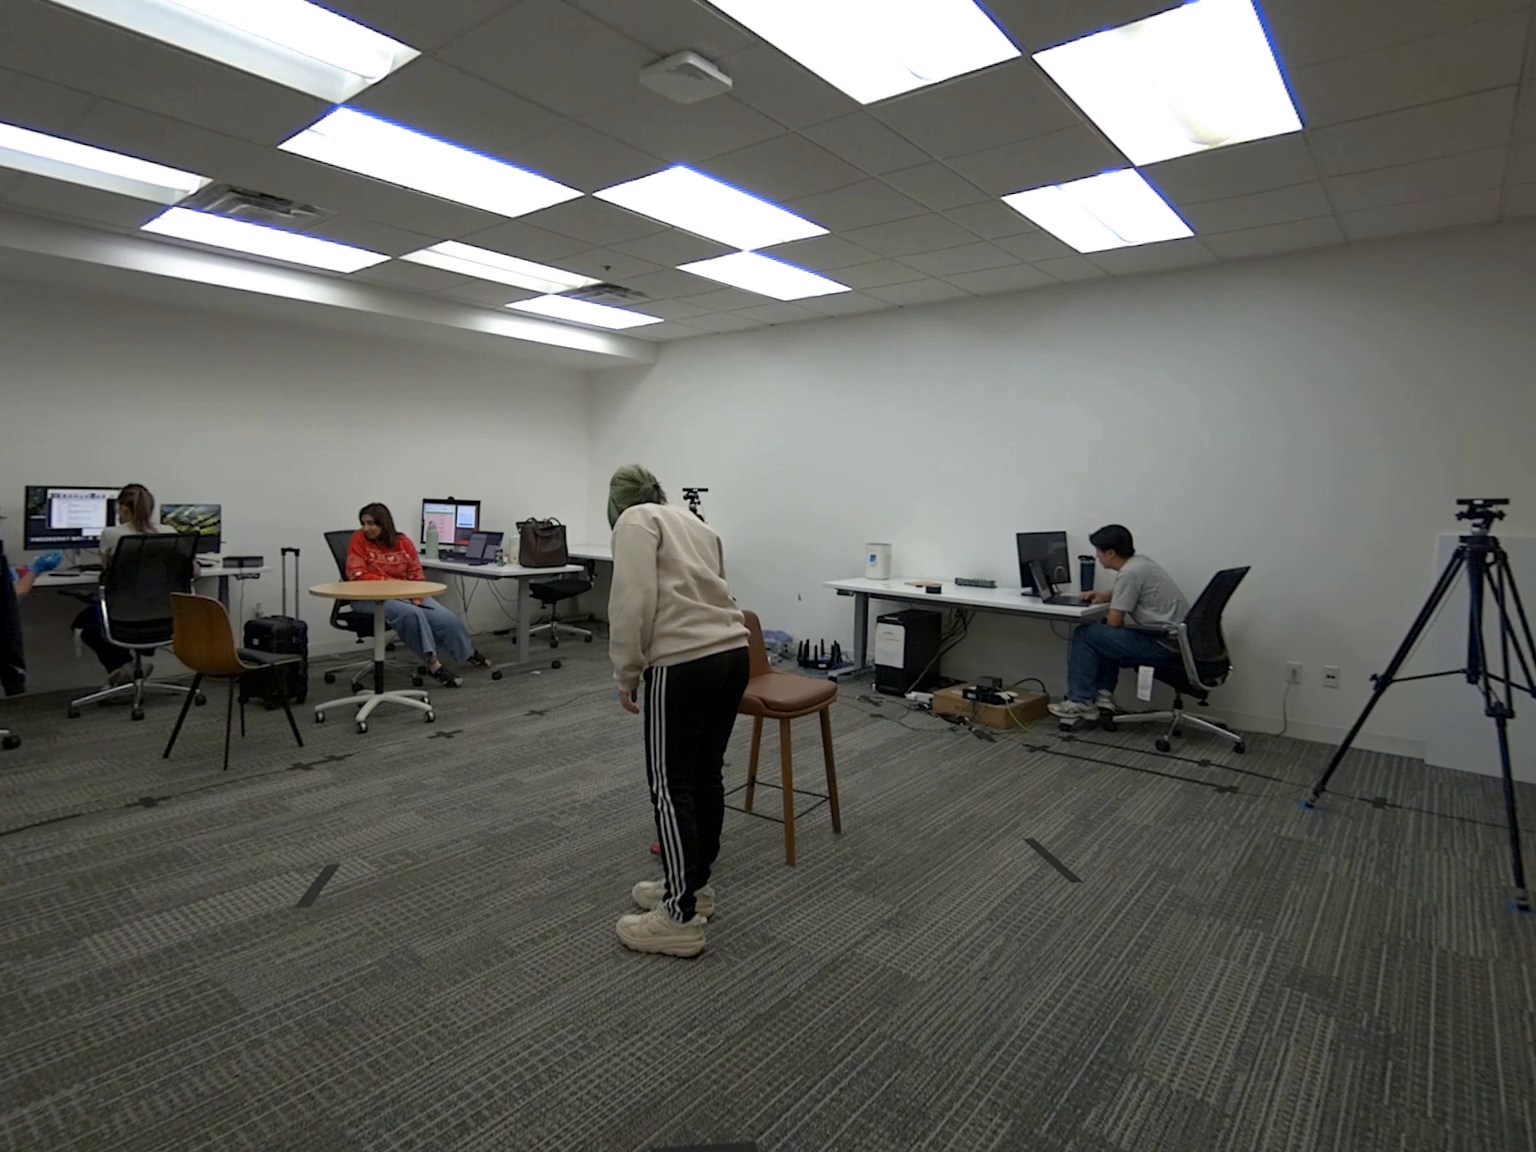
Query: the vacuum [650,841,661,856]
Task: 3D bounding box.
[{"bbox_3d":[-0.270,0.498,3.235,0.260,1.056,0.139,1,-9,33],"label":"vacuum"}]
